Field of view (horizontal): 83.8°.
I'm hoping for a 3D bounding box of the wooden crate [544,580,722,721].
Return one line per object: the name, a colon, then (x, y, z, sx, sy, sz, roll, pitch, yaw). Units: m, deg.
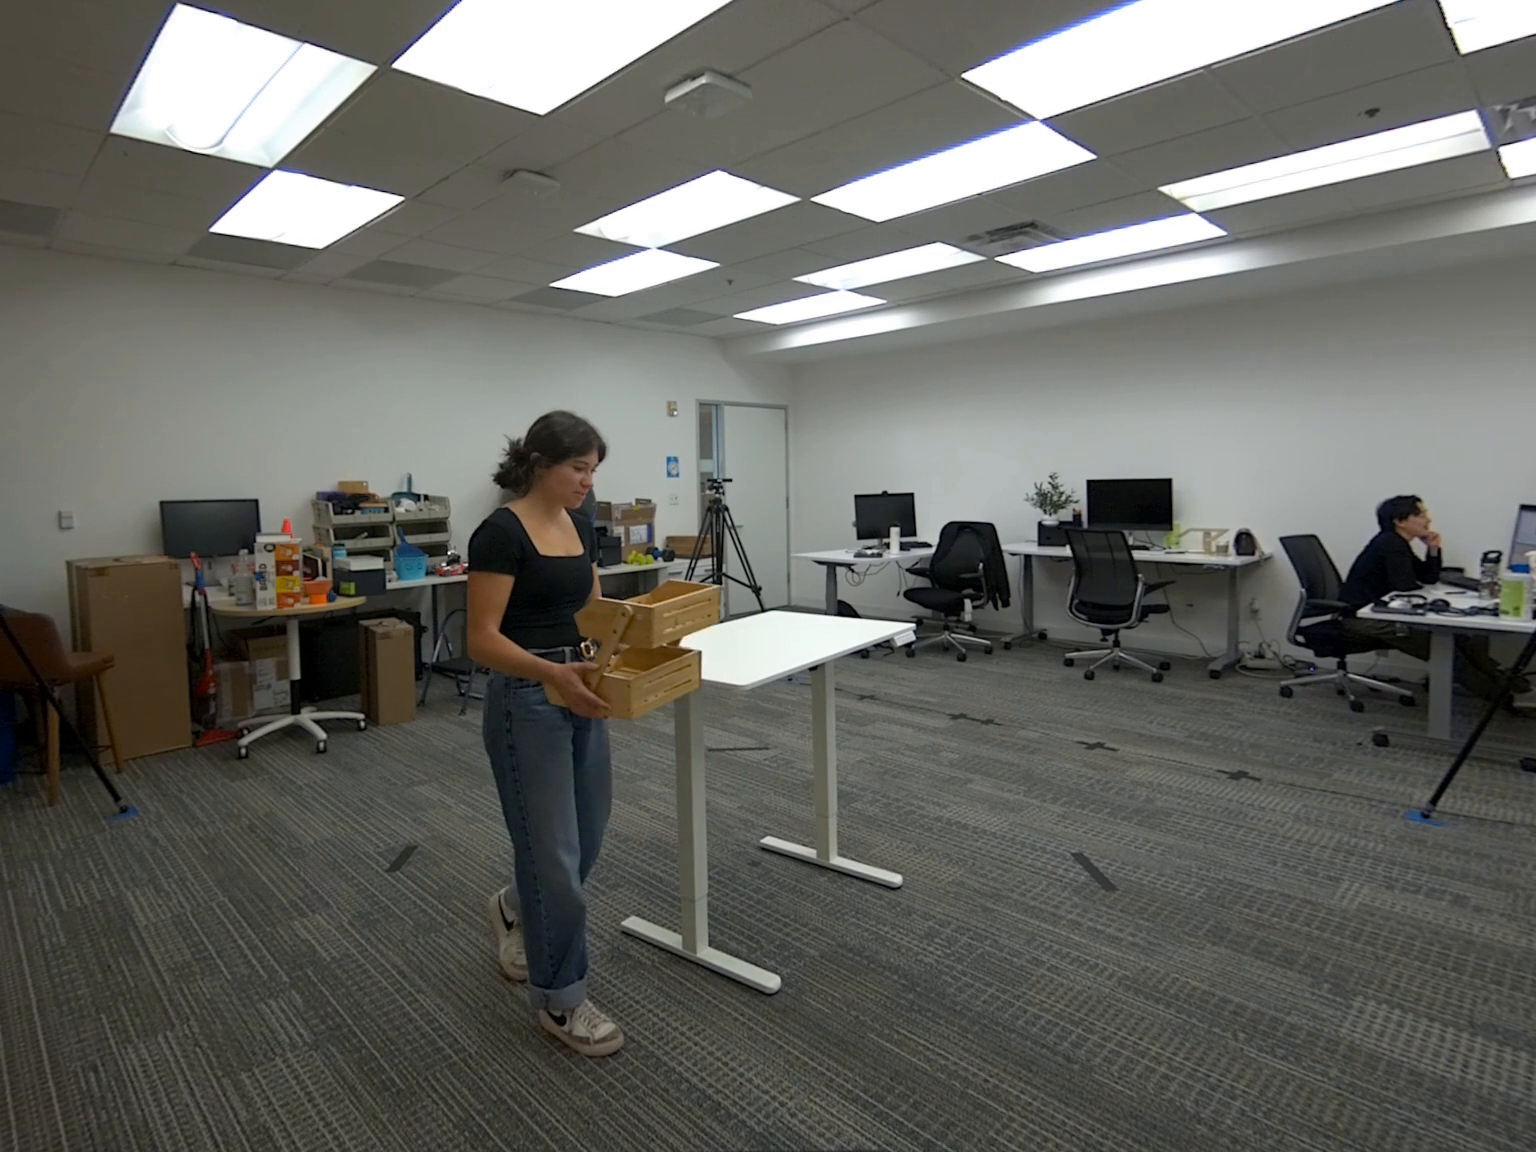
wooden crate: (-0.317, 0.151, 2.024, 0.310, 0.271, 0.318, 7, 10, 27)
